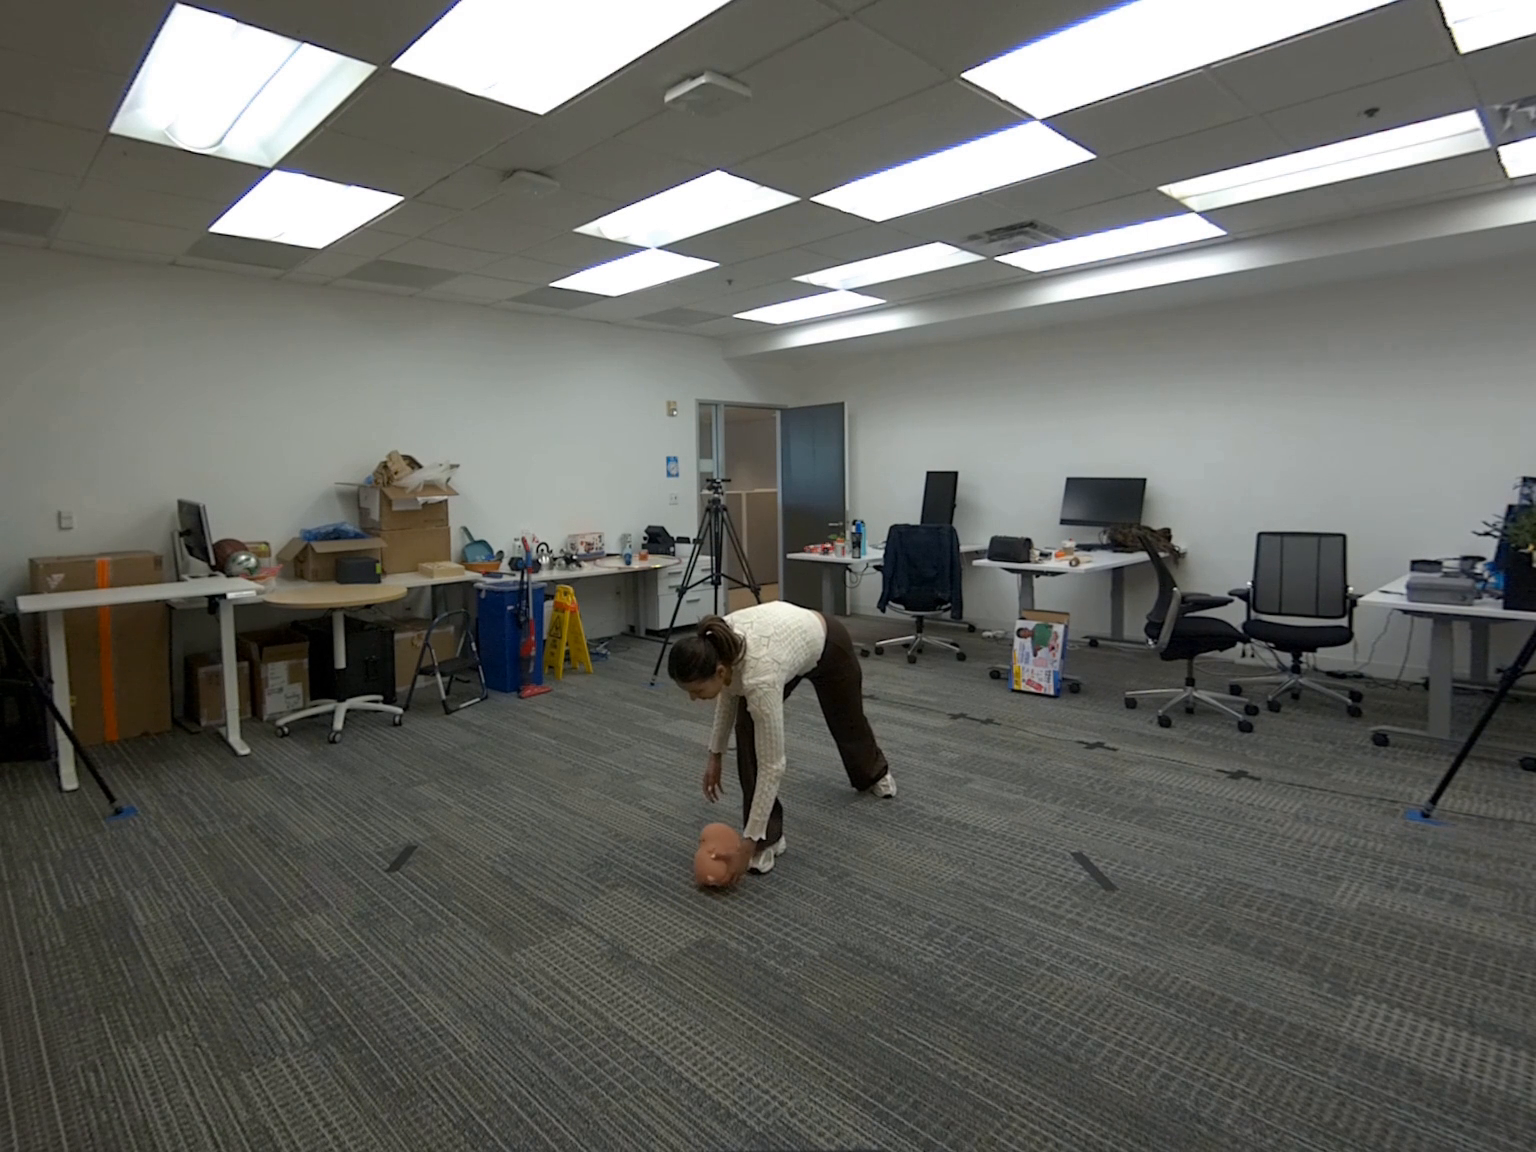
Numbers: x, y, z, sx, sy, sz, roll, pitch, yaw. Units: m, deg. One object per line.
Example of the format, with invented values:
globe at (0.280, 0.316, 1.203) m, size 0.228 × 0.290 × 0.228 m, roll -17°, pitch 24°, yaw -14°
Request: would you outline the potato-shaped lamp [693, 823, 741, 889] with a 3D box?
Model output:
potato-shaped lamp at (-0.164, 0.953, 2.954) m, size 0.167 × 0.202 × 0.165 m, roll -18°, pitch -25°, yaw 28°
